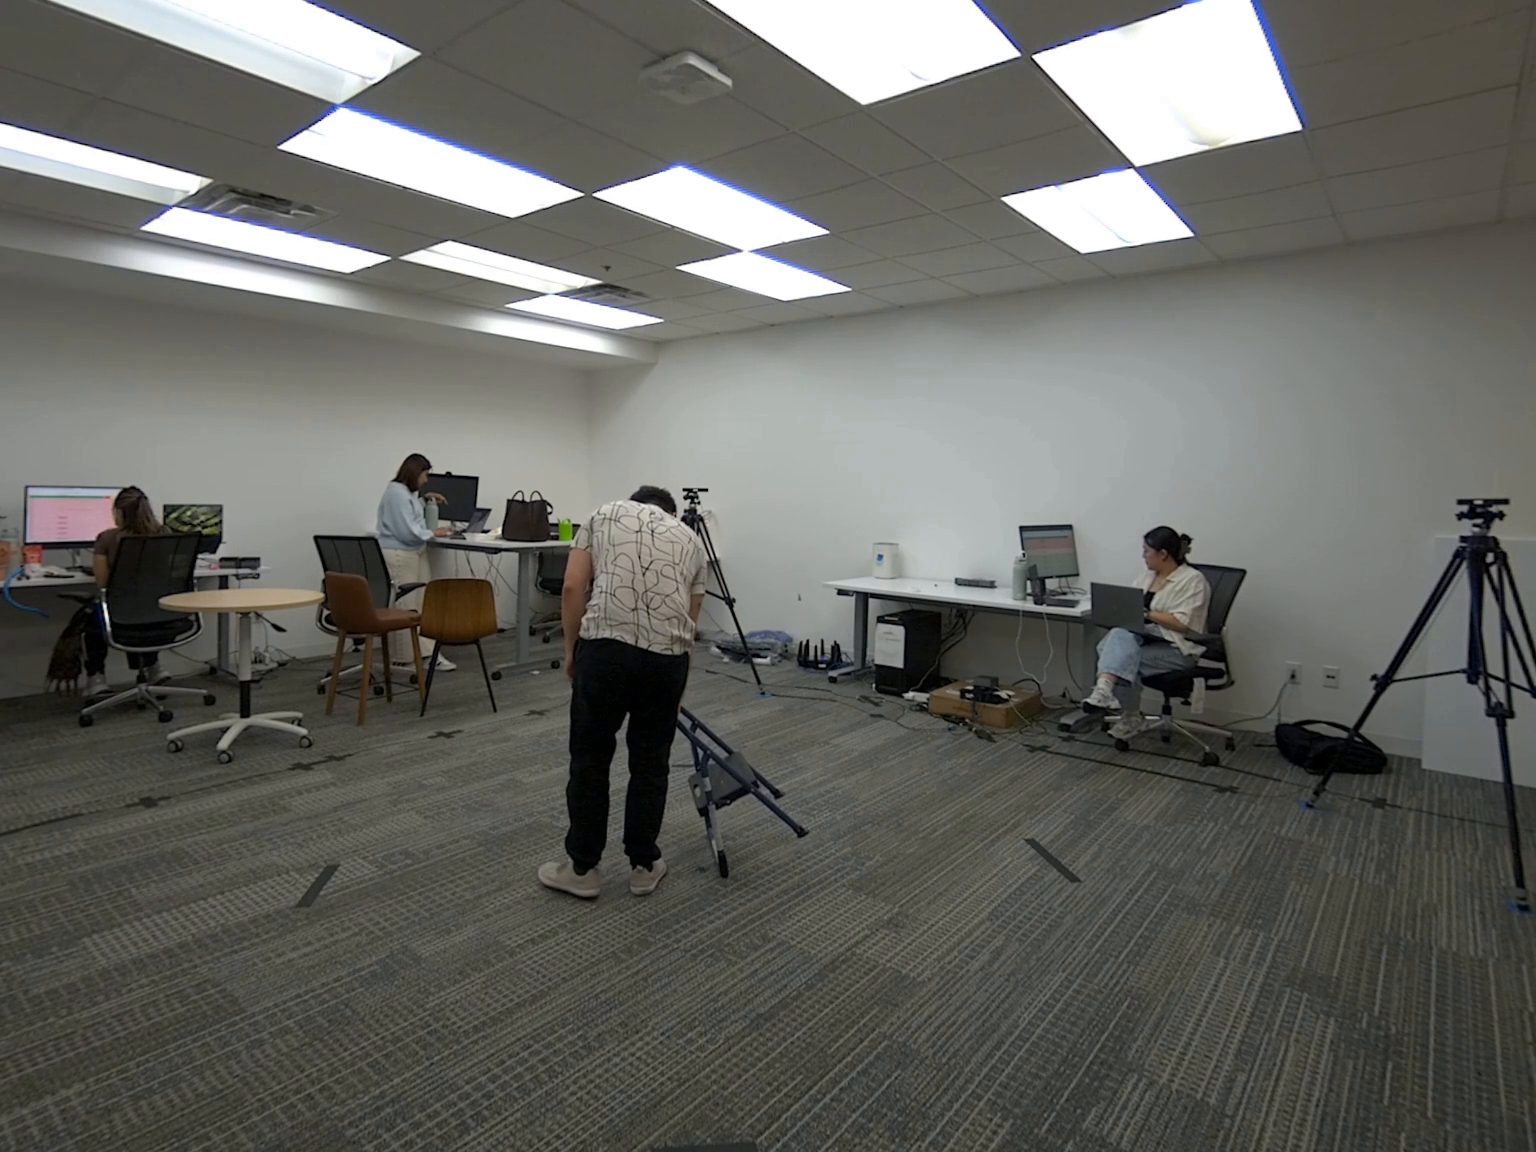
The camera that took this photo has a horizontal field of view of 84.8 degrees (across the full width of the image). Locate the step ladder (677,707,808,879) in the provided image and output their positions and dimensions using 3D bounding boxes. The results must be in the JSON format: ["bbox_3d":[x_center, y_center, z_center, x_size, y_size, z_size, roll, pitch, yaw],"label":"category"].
[{"bbox_3d":[-0.189,0.721,3.232,0.348,0.601,0.436,-27,7,-7],"label":"step ladder"}]
